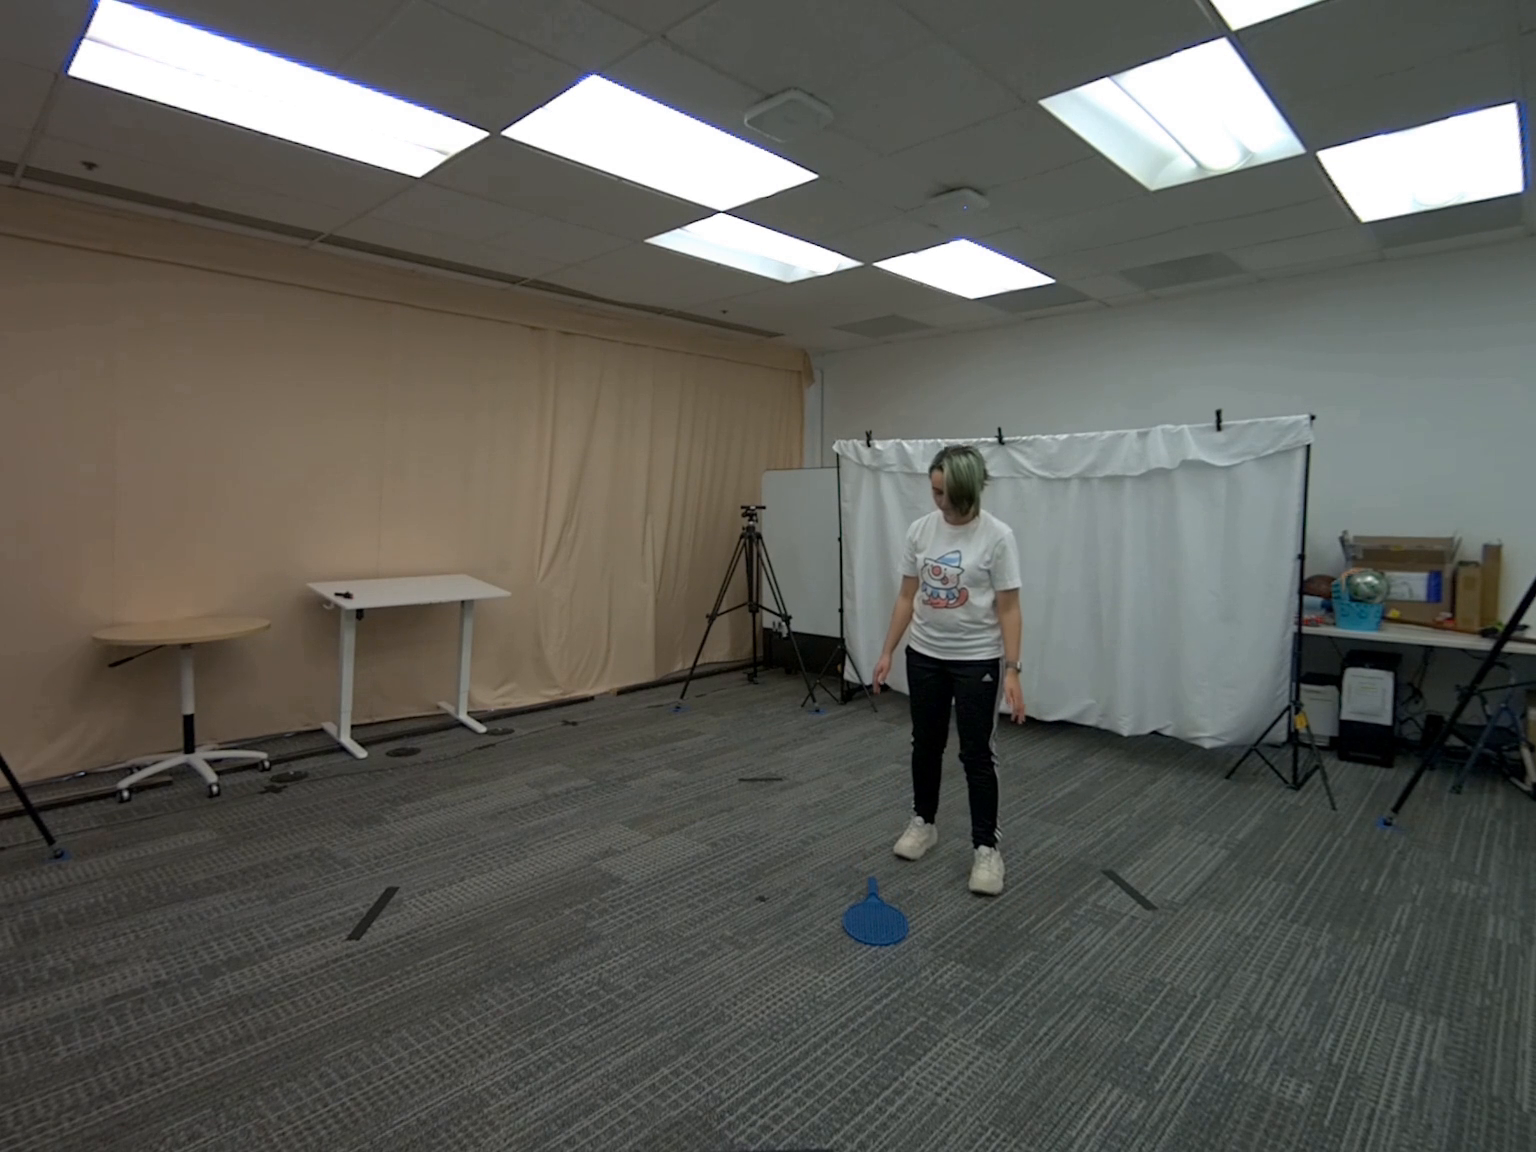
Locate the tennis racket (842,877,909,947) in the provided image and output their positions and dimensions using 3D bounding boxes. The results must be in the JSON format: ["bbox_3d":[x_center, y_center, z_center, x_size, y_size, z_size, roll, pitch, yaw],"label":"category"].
[{"bbox_3d":[0.364,1.139,2.872,0.215,0.031,0.432,0,6,3],"label":"tennis racket"}]
